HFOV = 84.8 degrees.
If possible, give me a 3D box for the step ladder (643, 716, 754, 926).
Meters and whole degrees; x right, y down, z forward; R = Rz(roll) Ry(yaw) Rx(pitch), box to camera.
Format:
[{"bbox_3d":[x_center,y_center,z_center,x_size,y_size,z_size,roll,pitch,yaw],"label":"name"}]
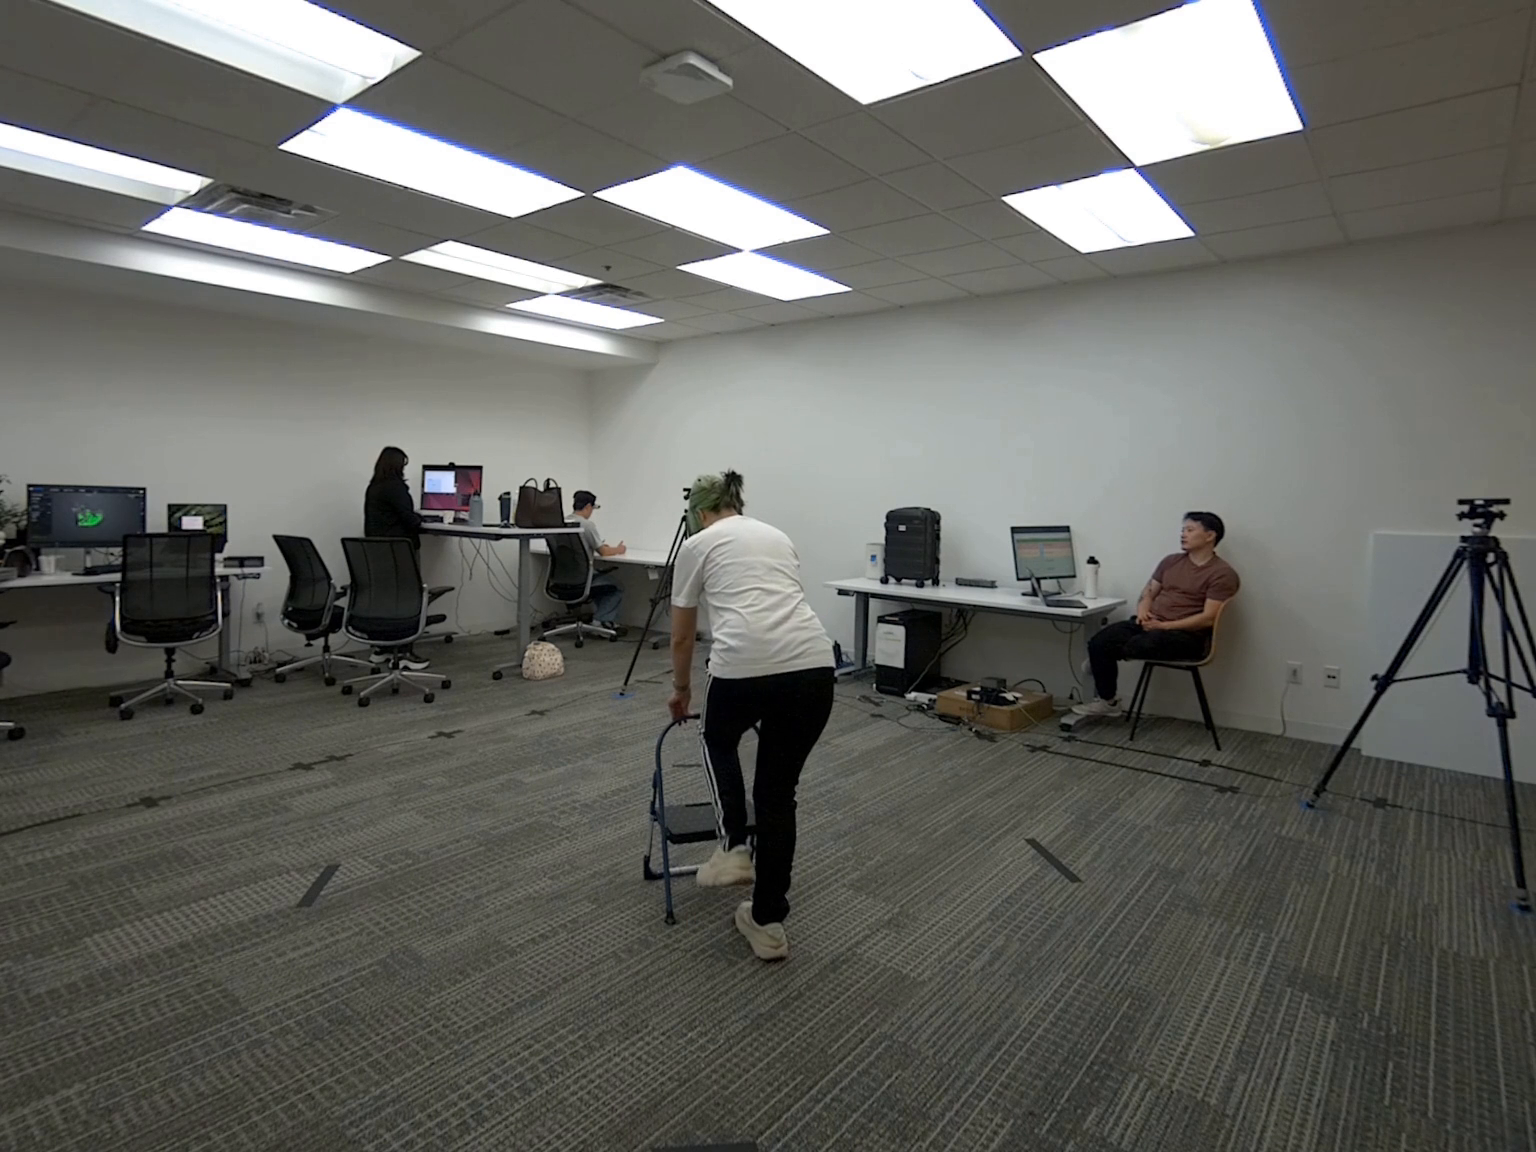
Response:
[{"bbox_3d":[-0.195,0.787,2.920,0.422,0.604,0.358,0,4,-21],"label":"step ladder"}]
